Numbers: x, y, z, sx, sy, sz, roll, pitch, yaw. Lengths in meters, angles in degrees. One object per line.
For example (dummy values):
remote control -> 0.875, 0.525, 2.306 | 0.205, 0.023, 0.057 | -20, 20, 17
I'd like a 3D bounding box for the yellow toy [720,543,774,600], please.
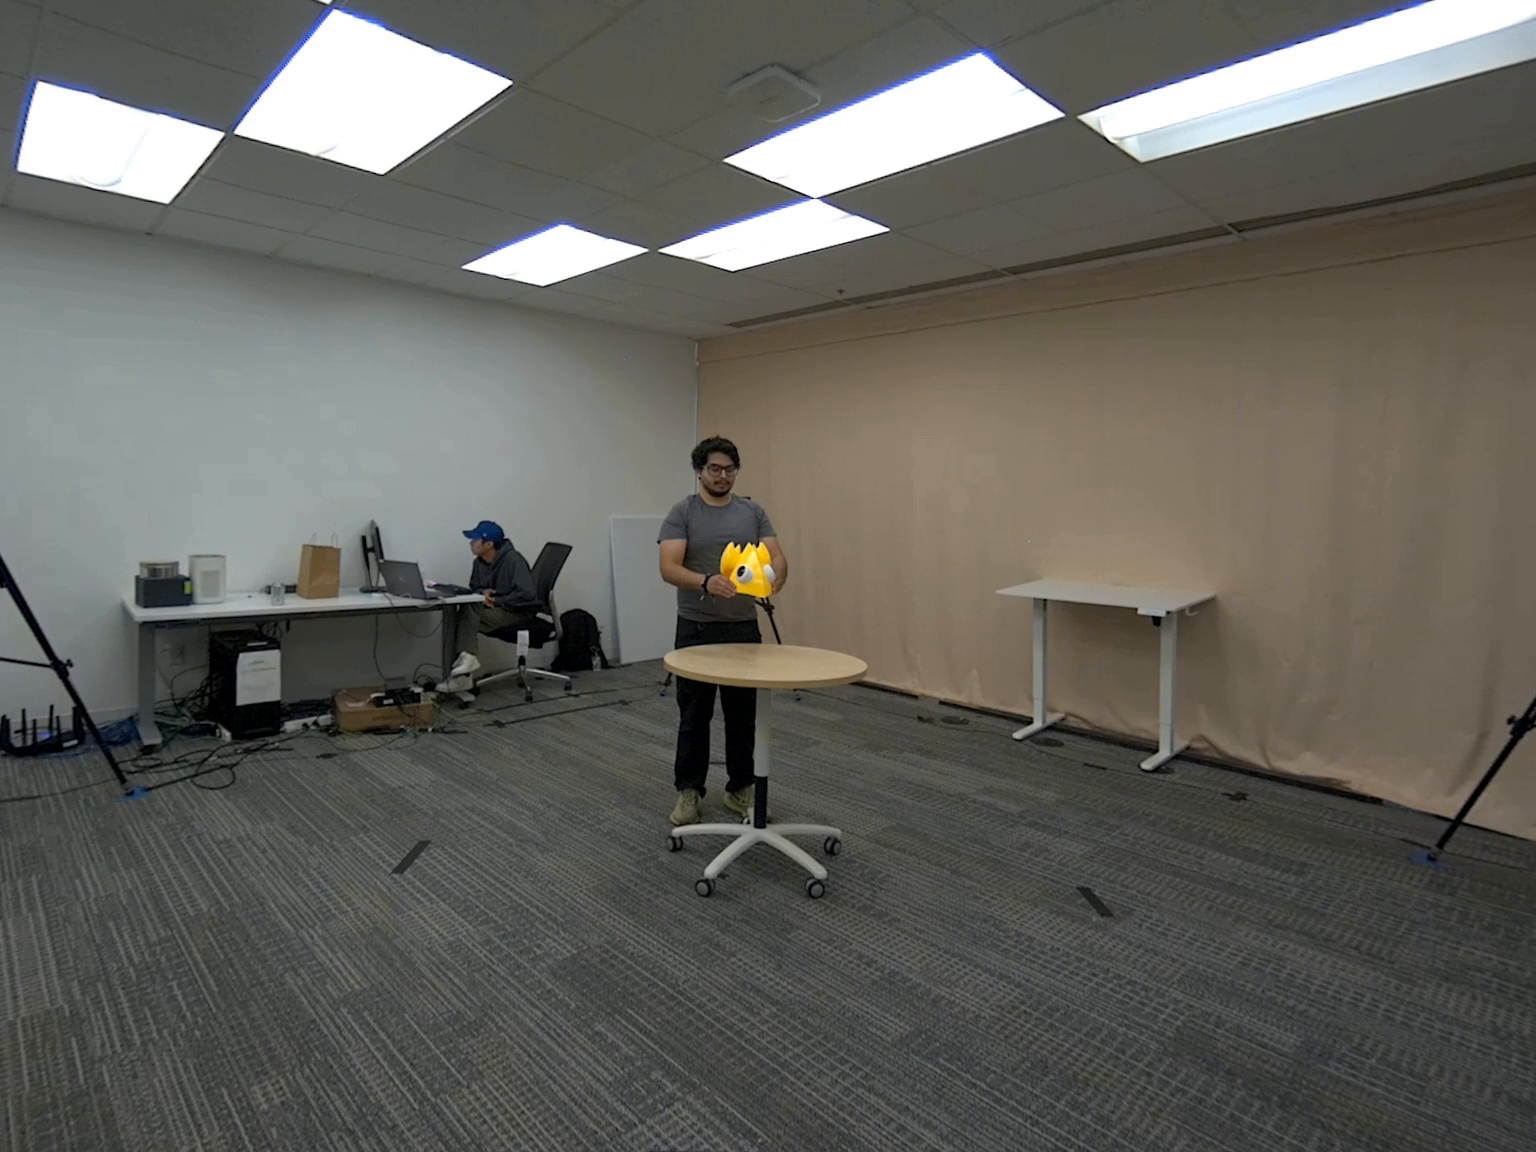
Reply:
yellow toy -> -0.066, -0.010, 3.258 | 0.201, 0.191, 0.237 | 0, 17, -23
